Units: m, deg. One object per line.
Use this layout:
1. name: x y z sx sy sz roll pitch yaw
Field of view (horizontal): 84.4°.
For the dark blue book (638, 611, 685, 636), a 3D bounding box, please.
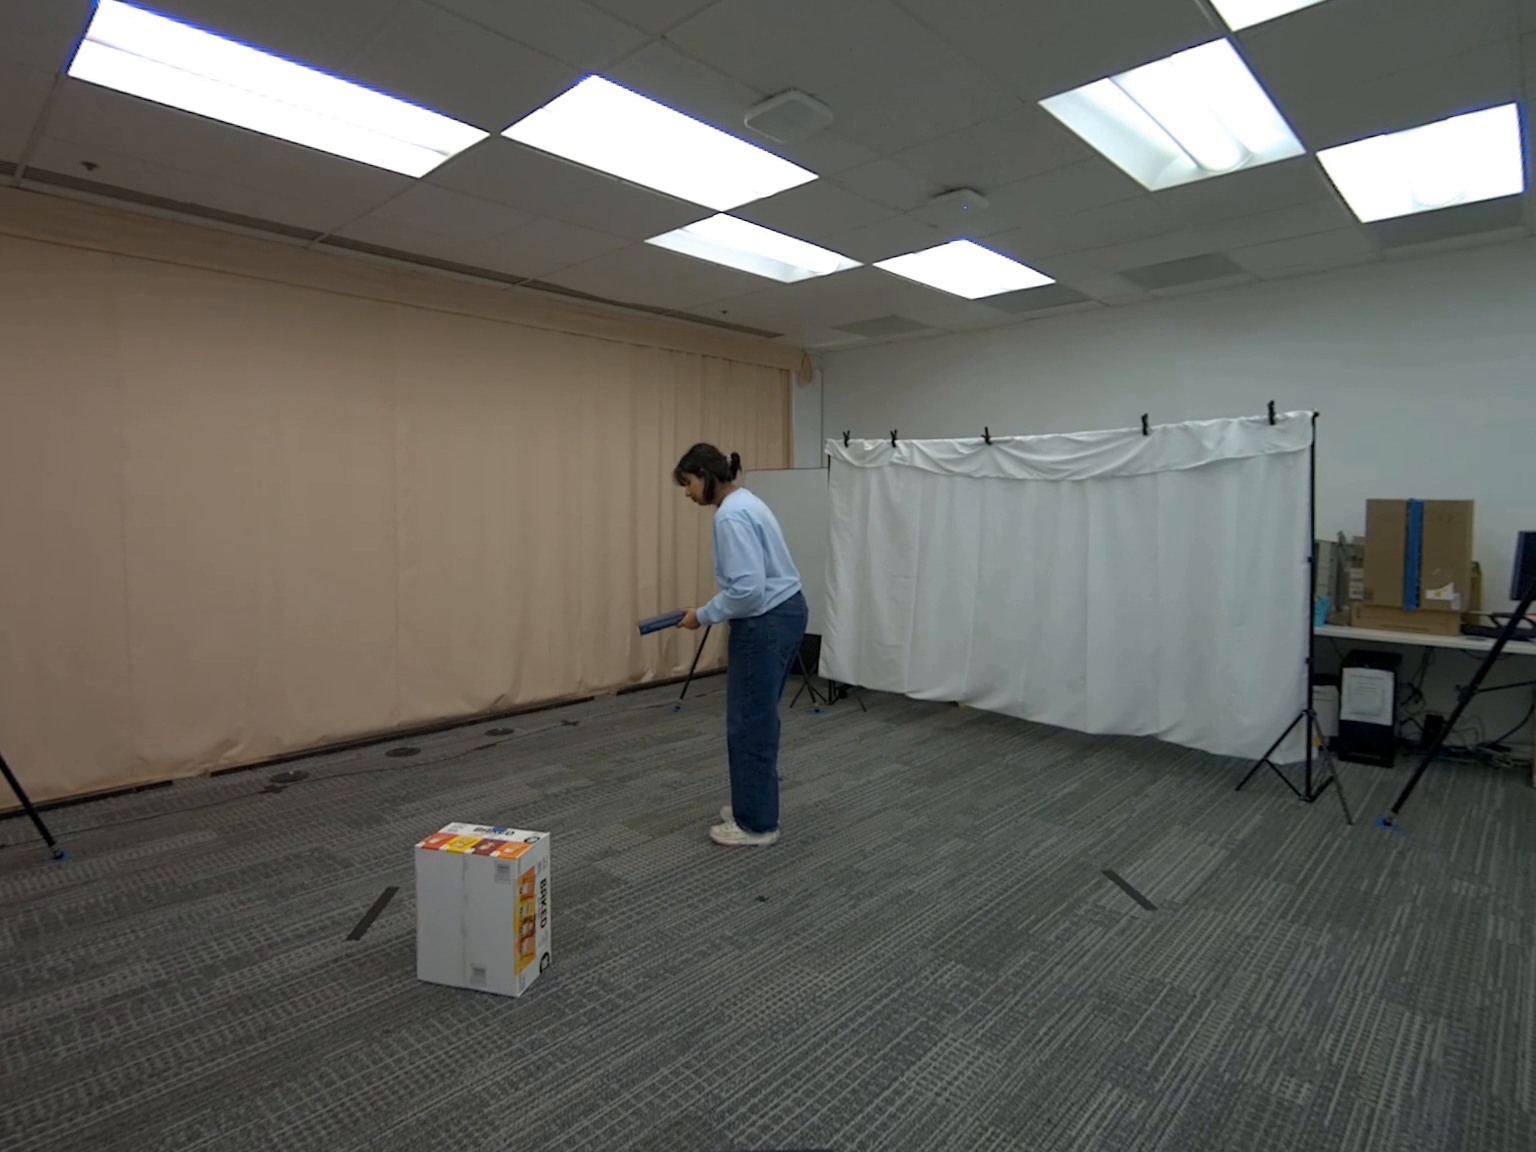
1. dark blue book: -0.425 0.189 3.491 0.243 0.045 0.165 -16 7 -8
